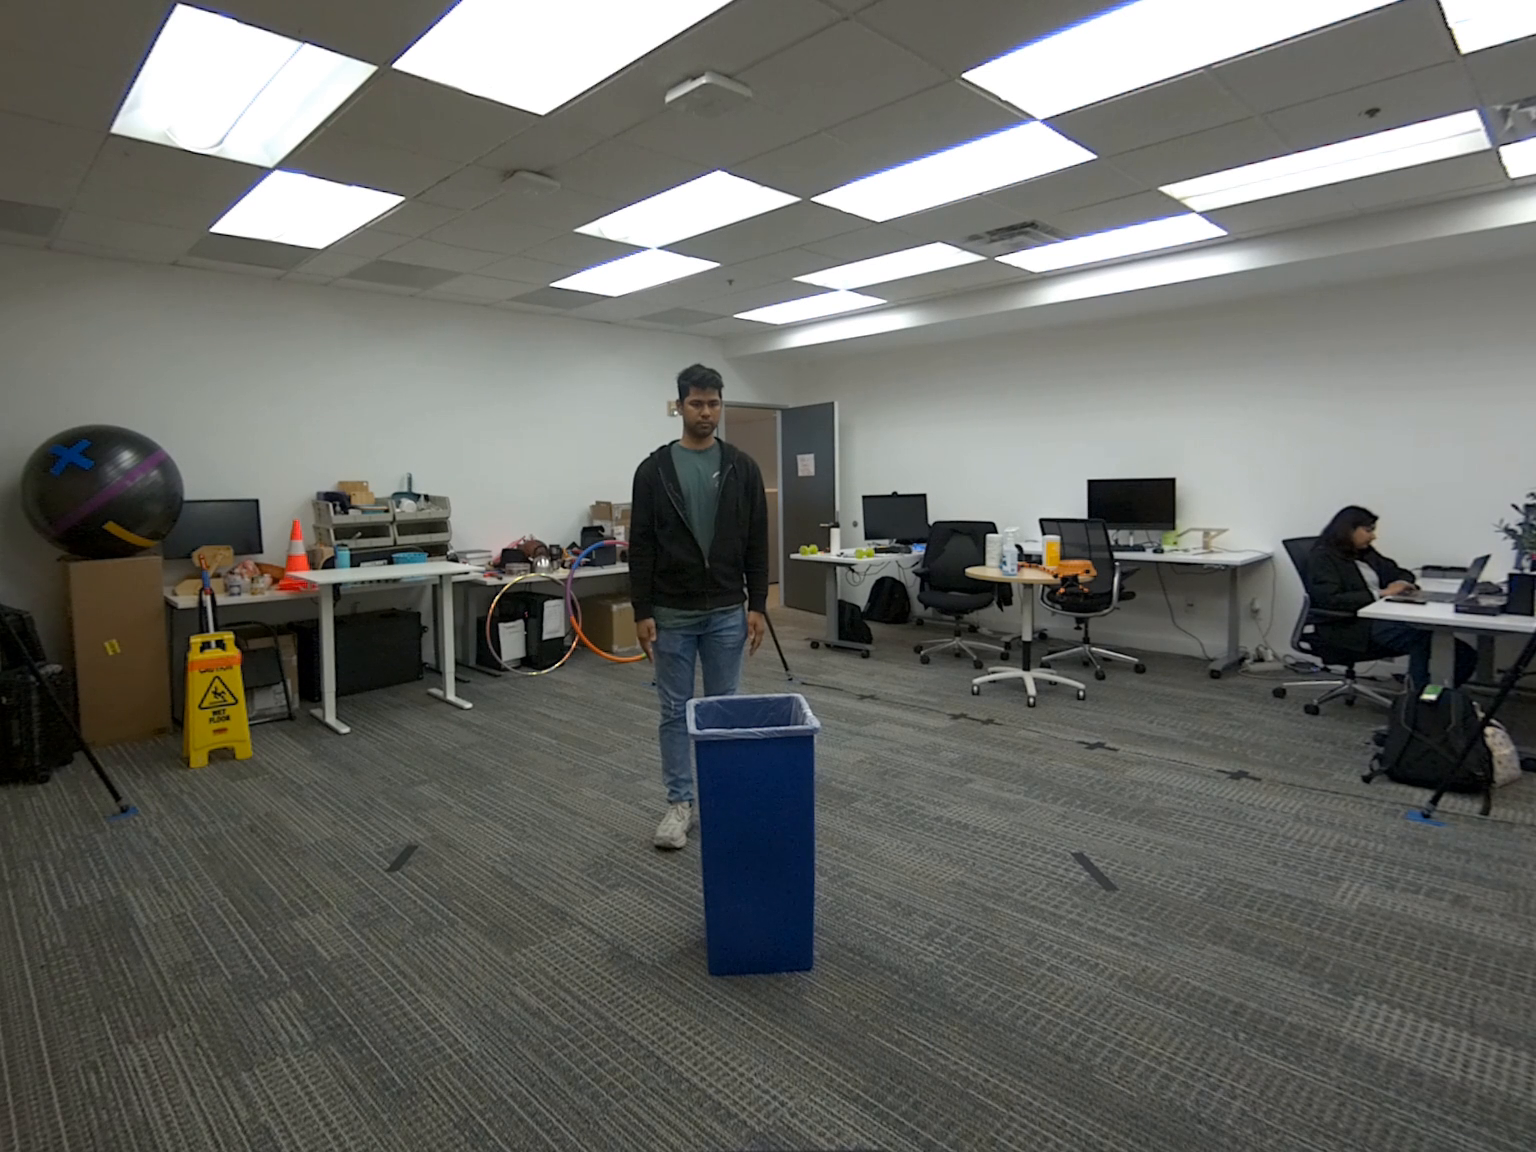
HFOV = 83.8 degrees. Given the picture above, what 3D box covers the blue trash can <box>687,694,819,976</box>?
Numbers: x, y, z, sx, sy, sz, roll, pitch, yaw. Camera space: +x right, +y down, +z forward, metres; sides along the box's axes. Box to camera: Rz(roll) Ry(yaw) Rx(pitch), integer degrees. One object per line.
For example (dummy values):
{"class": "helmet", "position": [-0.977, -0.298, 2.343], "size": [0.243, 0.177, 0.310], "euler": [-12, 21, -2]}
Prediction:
{"class": "blue trash can", "position": [-0.046, 0.755, 2.543], "size": [0.376, 0.710, 0.377], "euler": [-2, 5, -6]}
